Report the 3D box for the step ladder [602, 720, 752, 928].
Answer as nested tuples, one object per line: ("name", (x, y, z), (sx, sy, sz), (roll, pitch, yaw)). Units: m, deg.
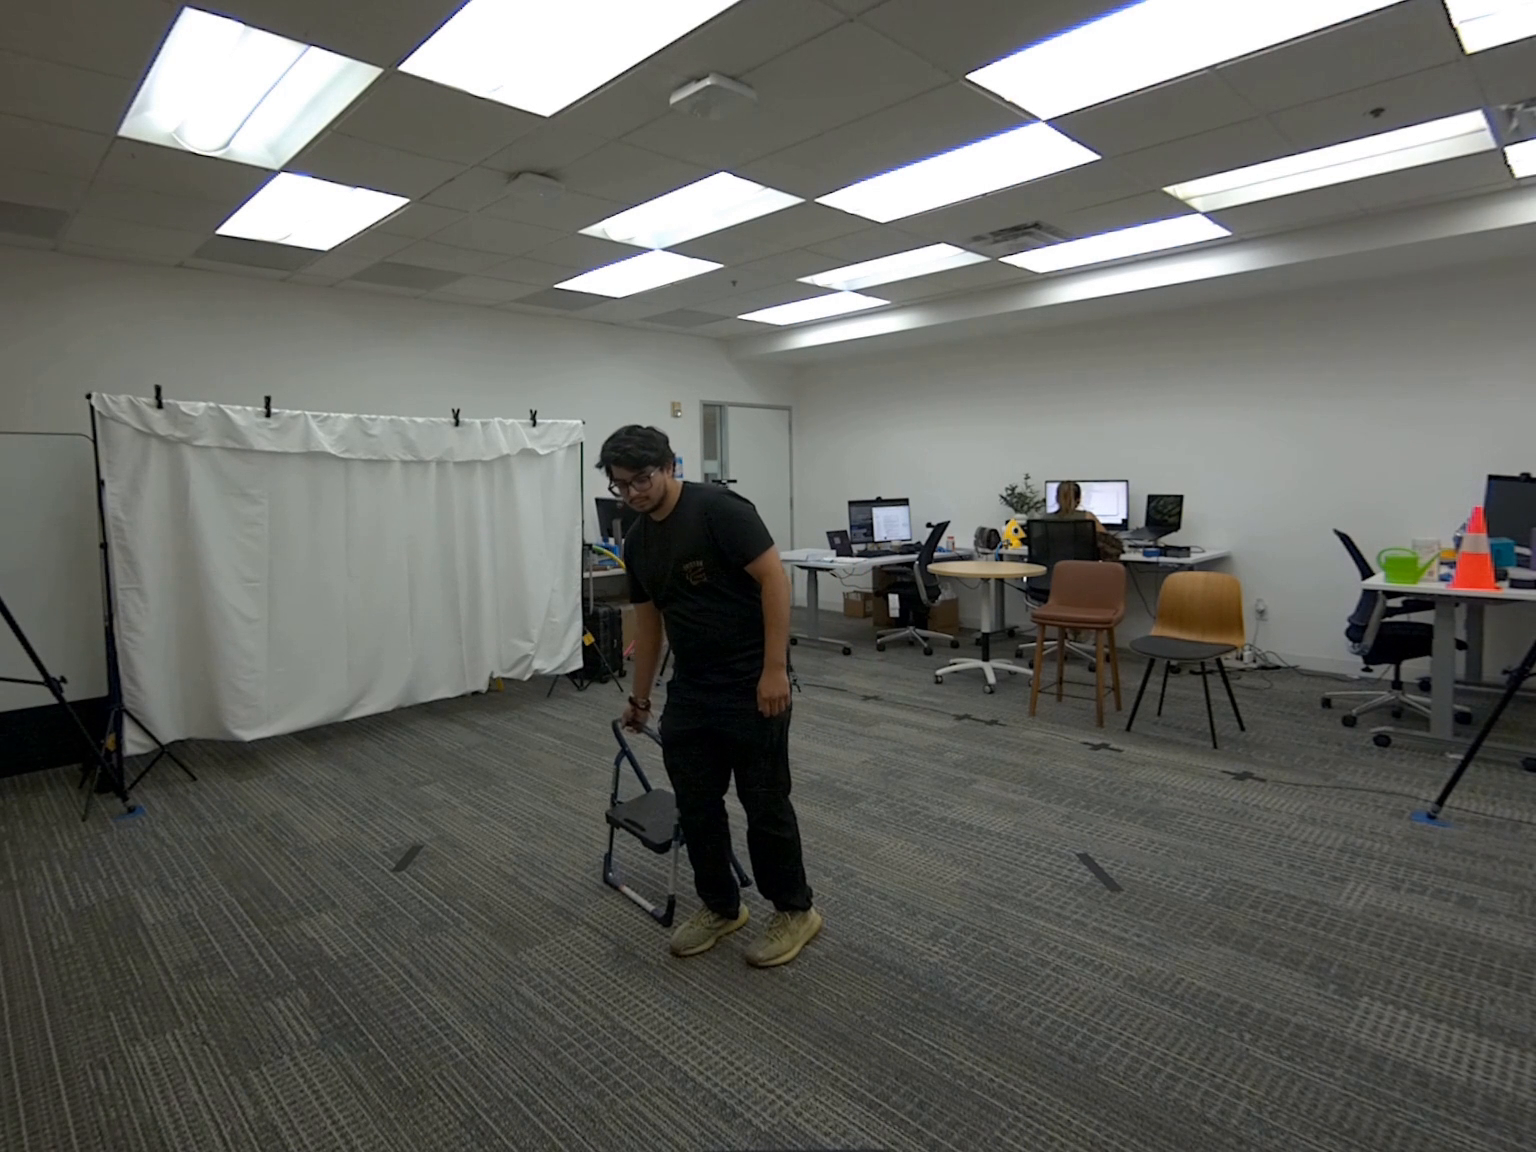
("step ladder", (-0.354, 0.759, 2.896), (0.342, 0.601, 0.444), (-13, 11, -39))
